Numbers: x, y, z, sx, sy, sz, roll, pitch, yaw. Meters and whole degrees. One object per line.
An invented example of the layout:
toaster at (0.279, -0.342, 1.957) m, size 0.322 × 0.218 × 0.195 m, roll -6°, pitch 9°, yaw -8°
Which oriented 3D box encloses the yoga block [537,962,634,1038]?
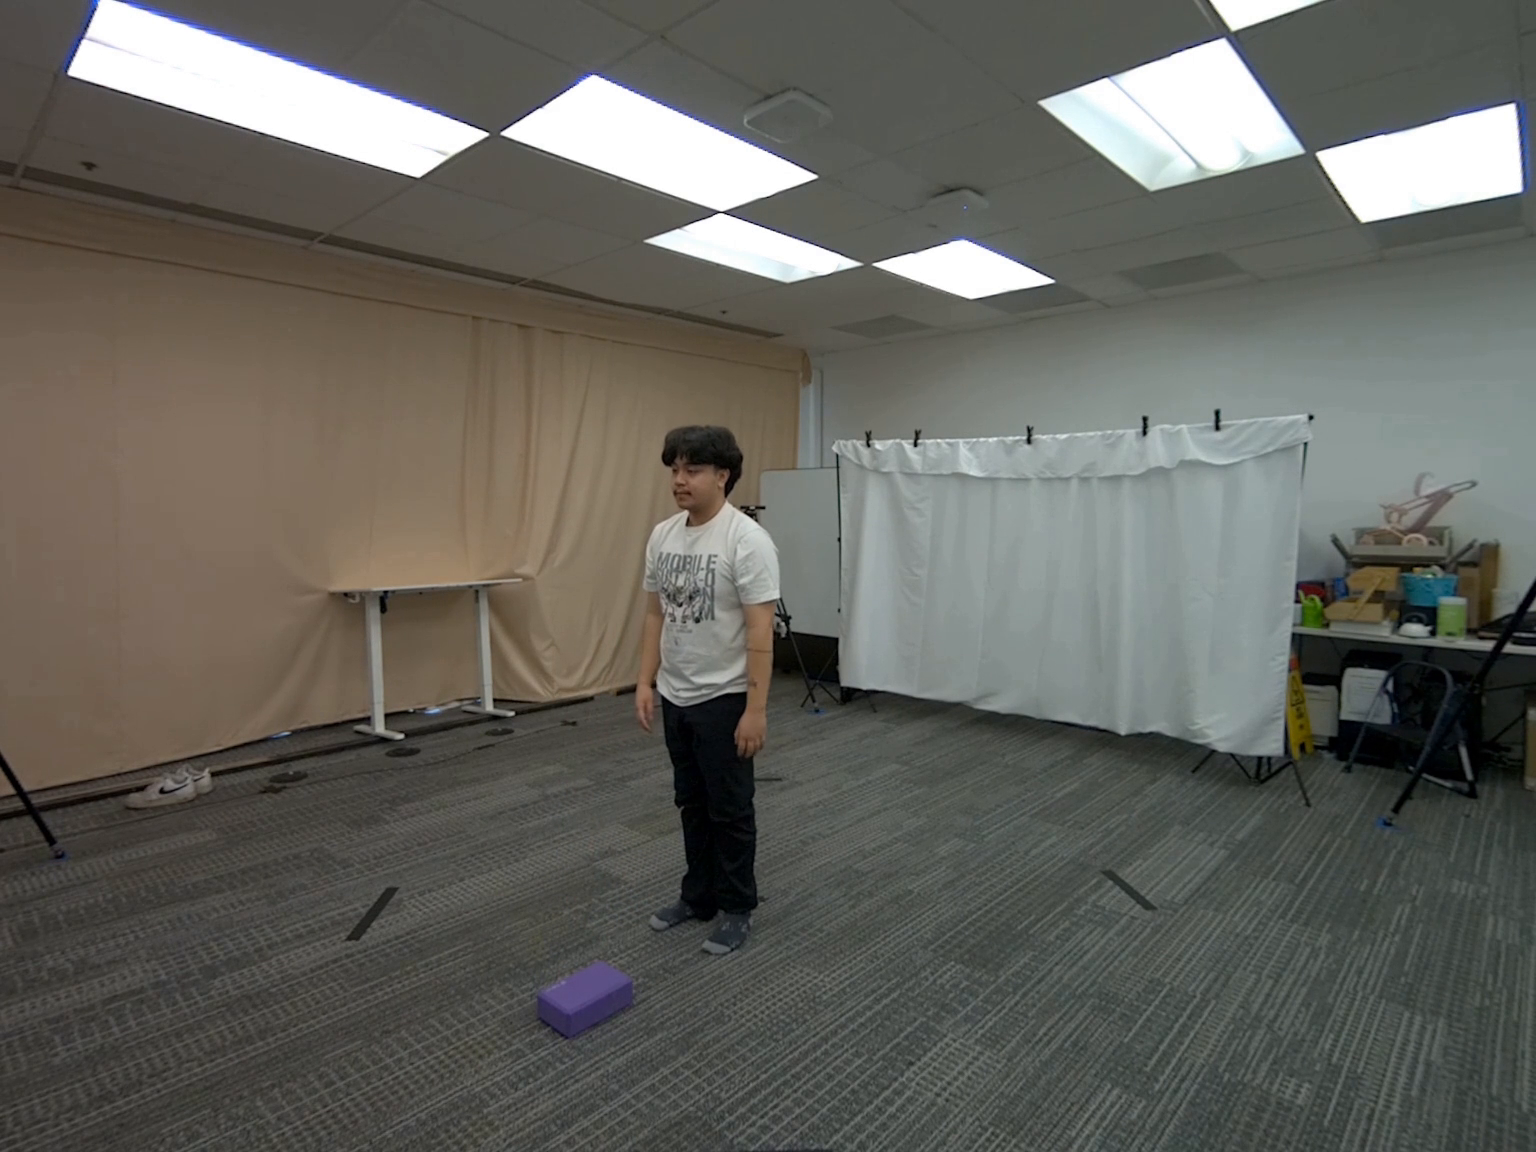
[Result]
yoga block at (-0.501, 1.163, 2.320) m, size 0.154 × 0.076 × 0.222 m, roll 5°, pitch 7°, yaw 41°
